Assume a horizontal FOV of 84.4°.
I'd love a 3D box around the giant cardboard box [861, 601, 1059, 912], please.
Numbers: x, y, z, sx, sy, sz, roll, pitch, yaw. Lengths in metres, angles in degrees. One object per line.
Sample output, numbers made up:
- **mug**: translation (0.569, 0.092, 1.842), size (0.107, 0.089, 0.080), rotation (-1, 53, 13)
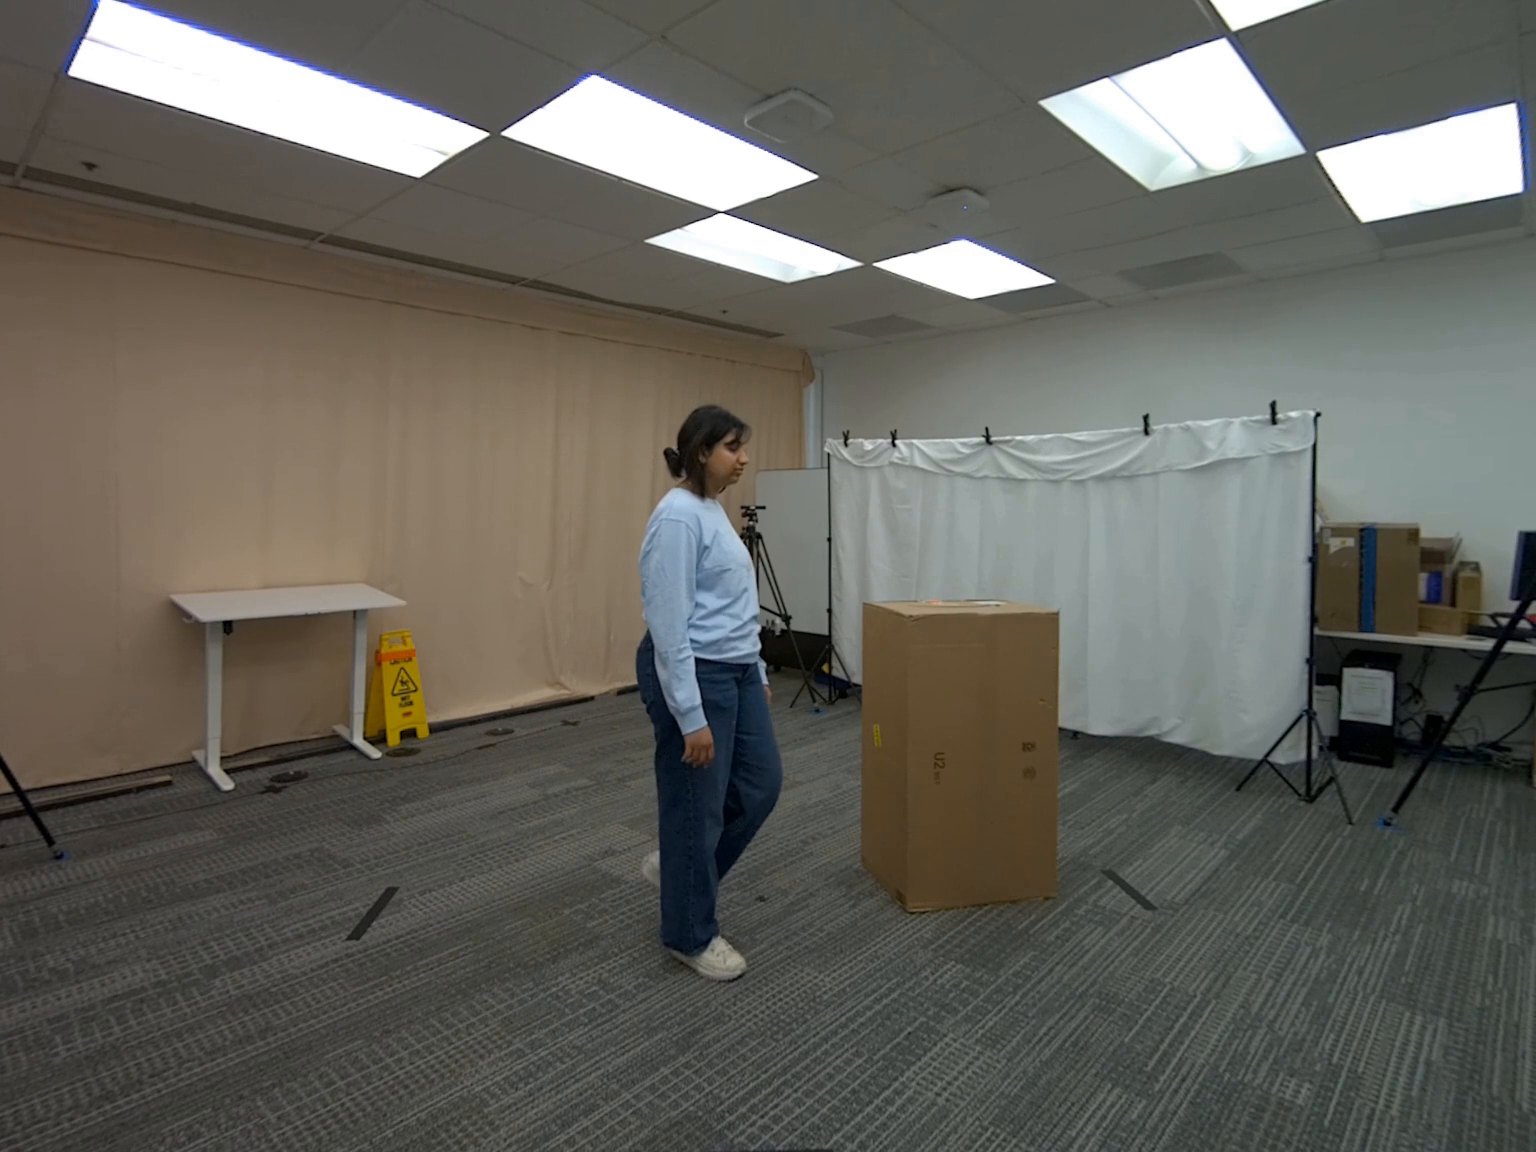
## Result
- **giant cardboard box**: translation (0.702, 0.622, 3.116), size (0.569, 1.024, 0.433), rotation (0, 3, -14)
